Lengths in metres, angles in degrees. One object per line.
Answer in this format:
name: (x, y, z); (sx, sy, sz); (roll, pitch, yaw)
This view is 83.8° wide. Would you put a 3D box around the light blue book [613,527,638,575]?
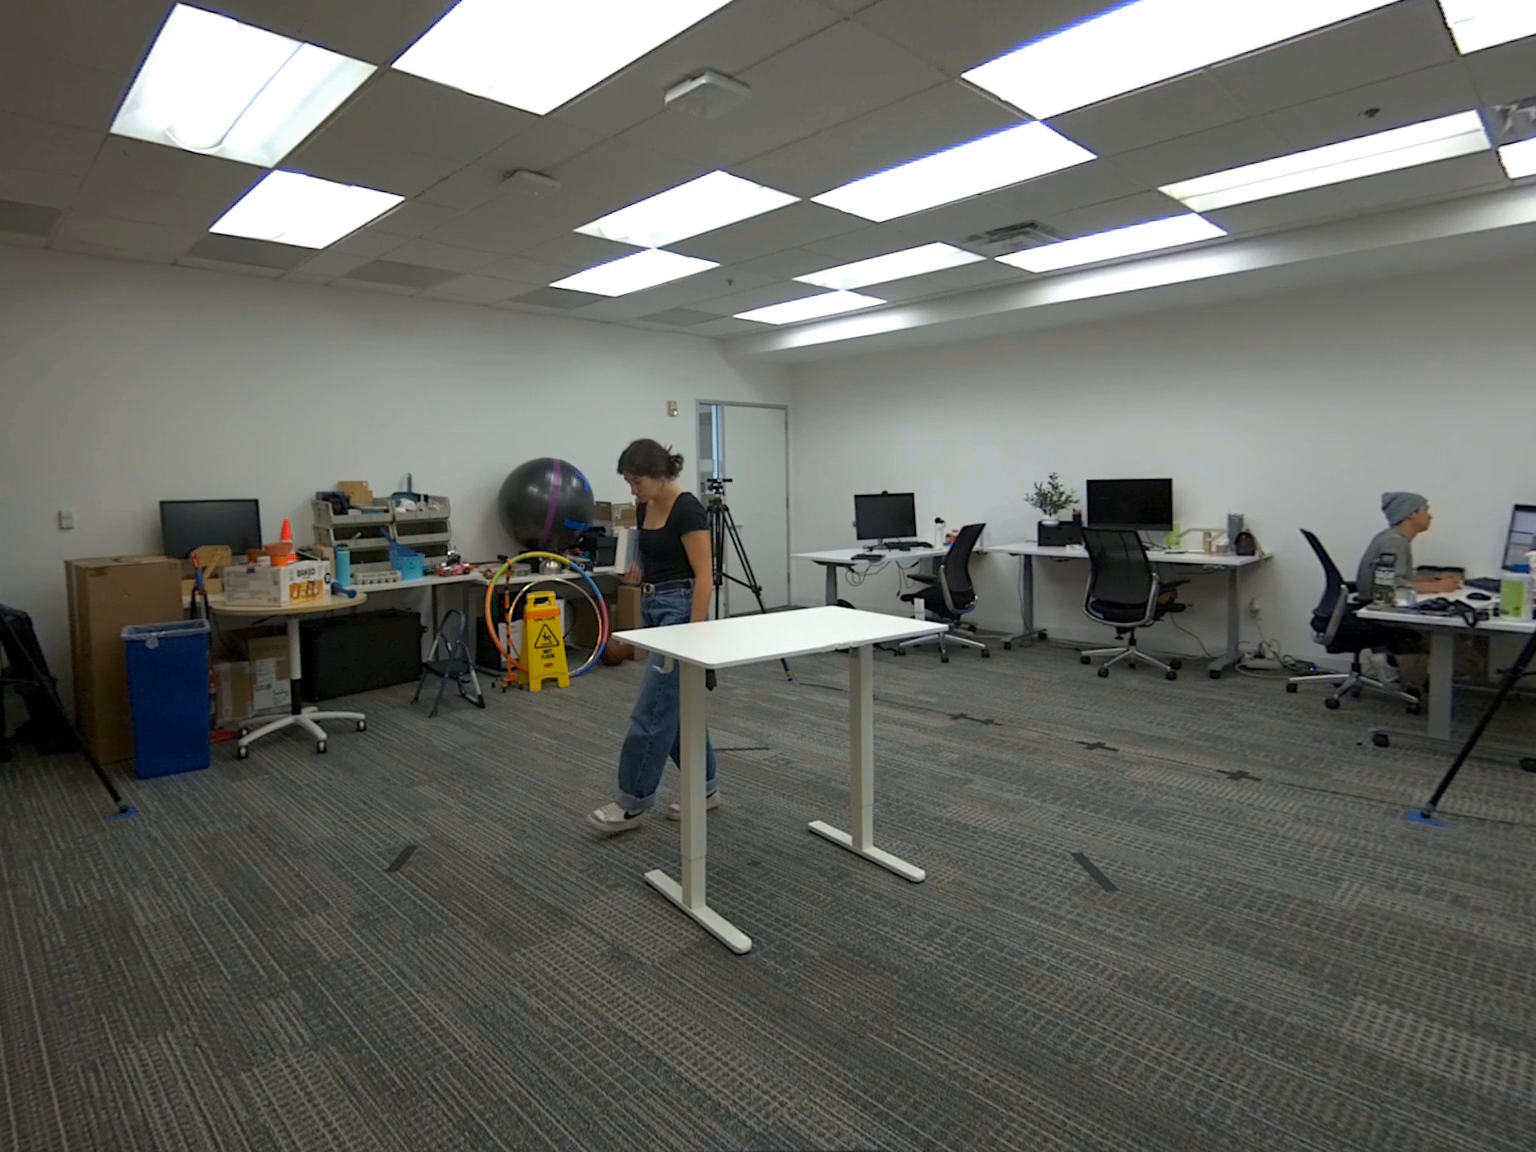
light blue book: (-0.523, -0.097, 3.603); (0.061, 0.192, 0.252); (4, -3, 39)
